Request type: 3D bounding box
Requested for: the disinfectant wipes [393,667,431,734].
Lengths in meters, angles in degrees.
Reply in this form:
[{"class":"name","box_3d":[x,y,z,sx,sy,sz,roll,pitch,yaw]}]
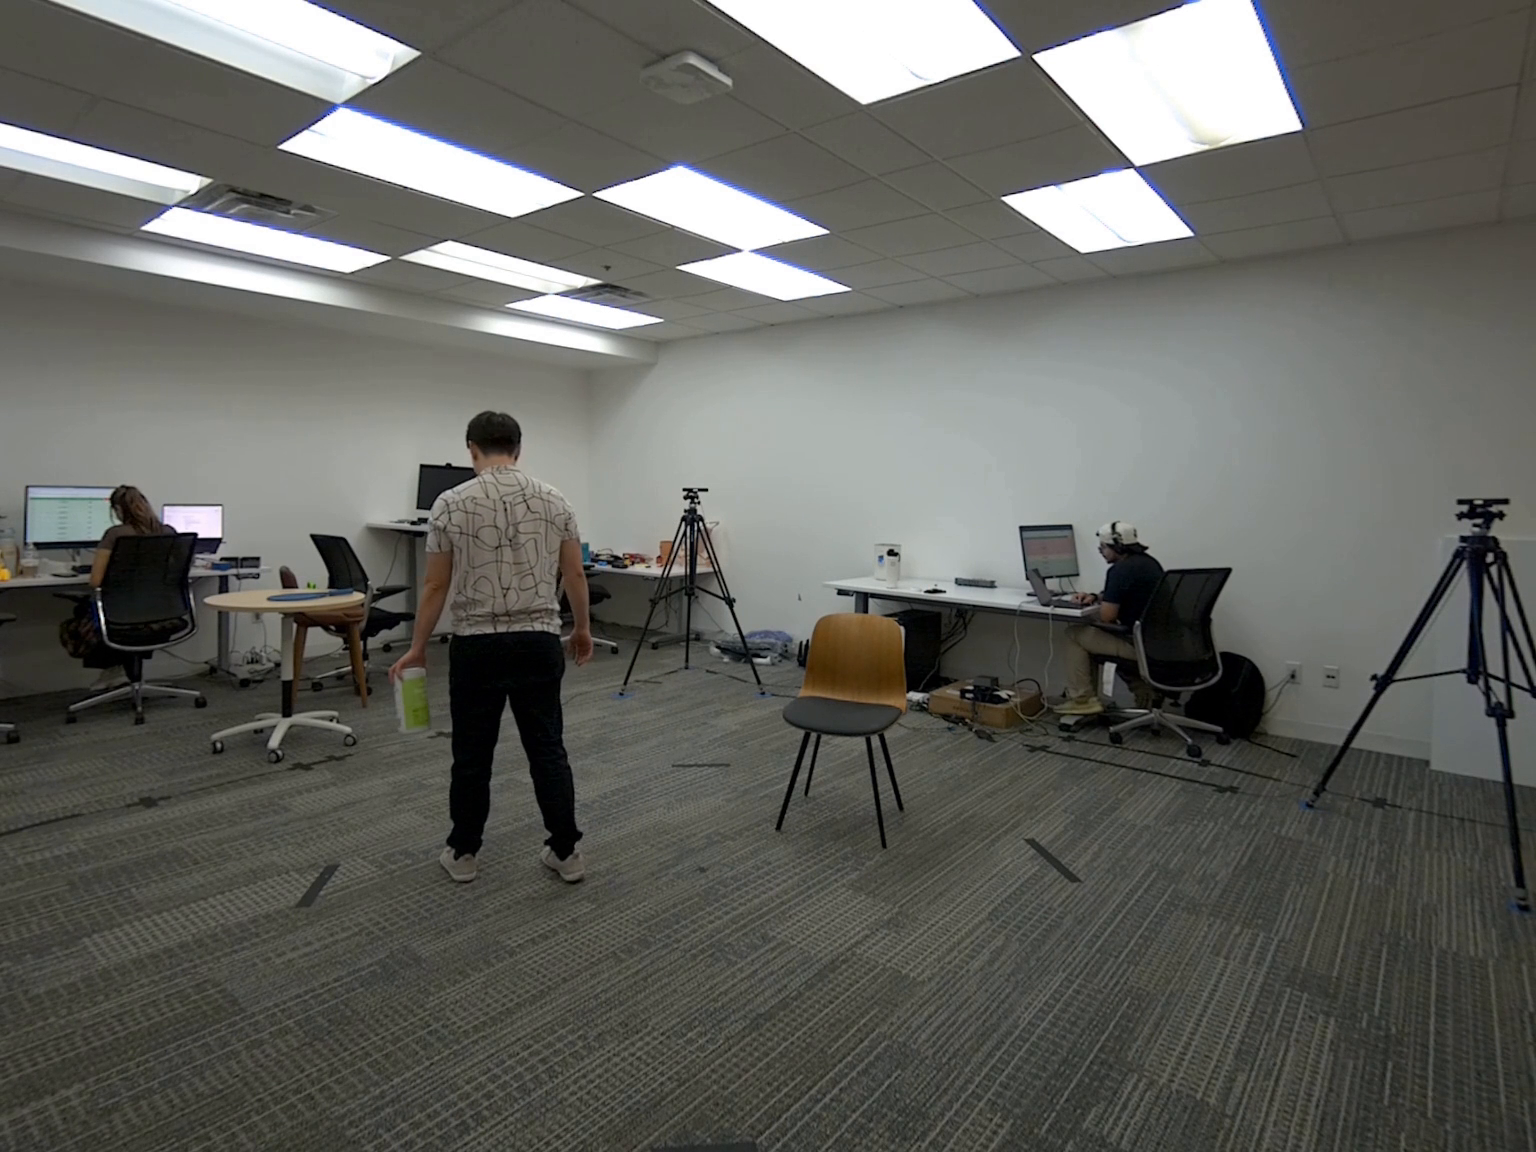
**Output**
[{"class":"disinfectant wipes","box_3d":[-1.247,0.434,2.957,0.118,0.217,0.118,-7,0,-2]}]
